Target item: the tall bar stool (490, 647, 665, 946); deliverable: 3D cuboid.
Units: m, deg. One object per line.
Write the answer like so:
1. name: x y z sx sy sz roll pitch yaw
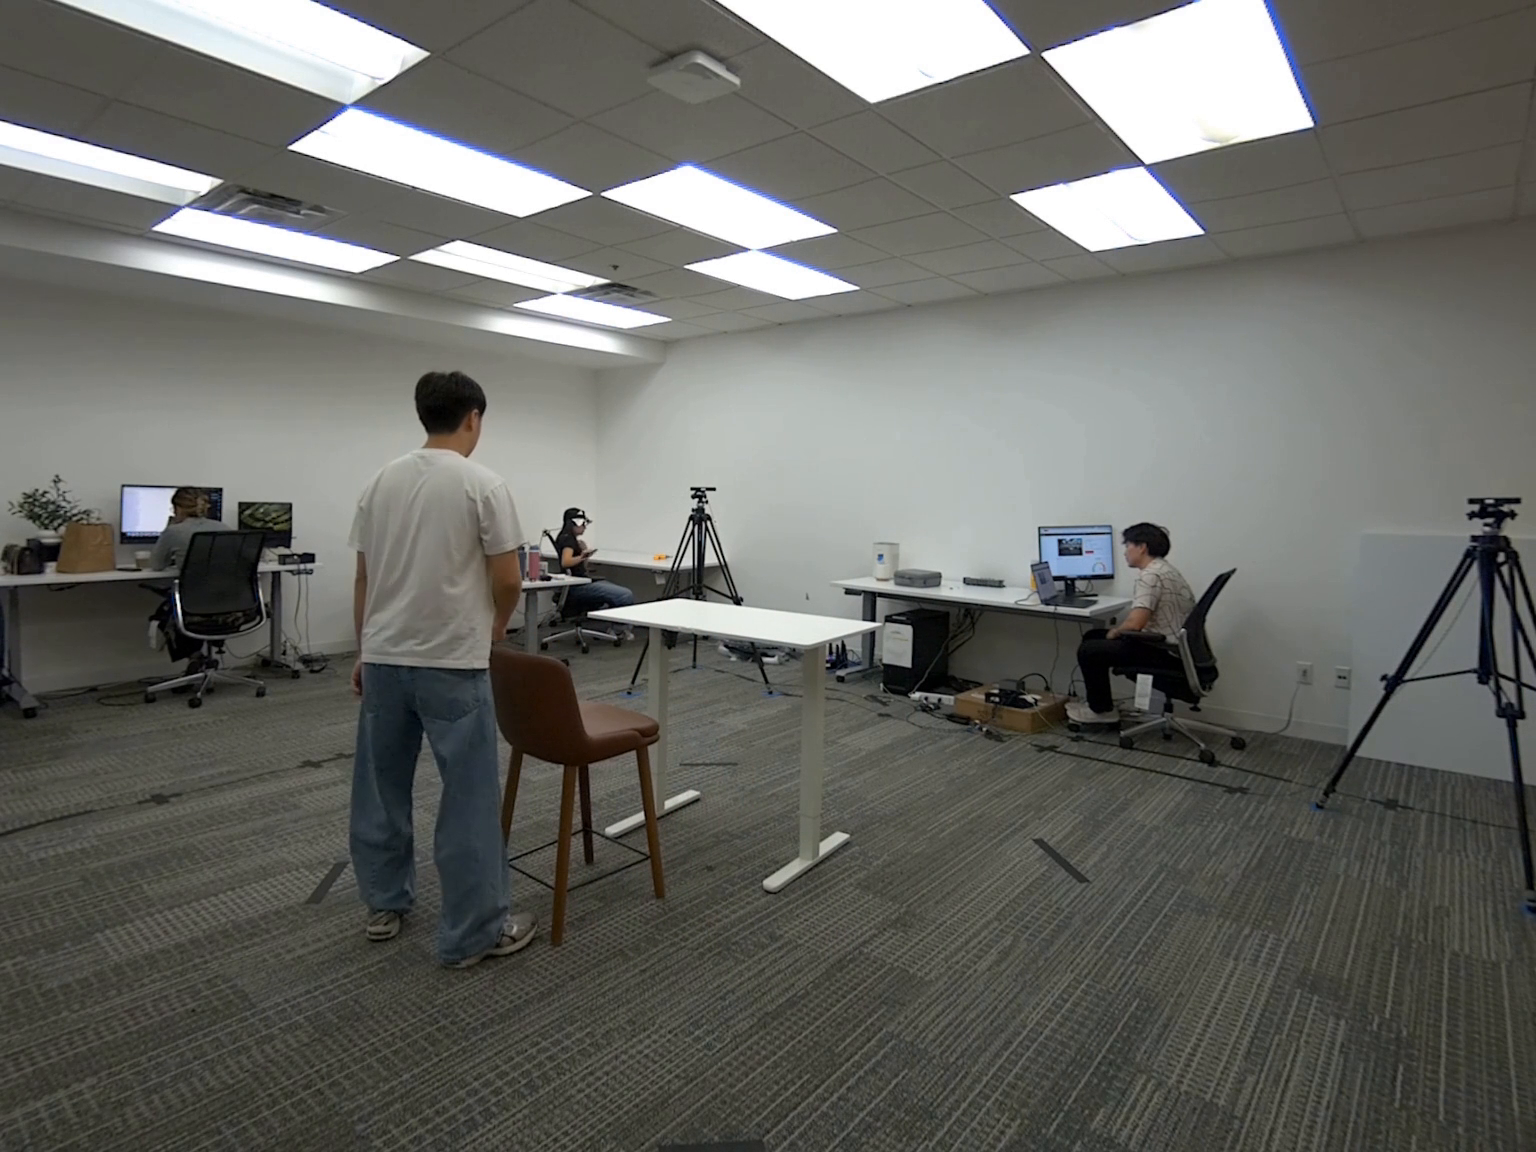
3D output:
1. tall bar stool: -0.650 0.644 2.826 0.472 0.886 0.454 4 7 41
